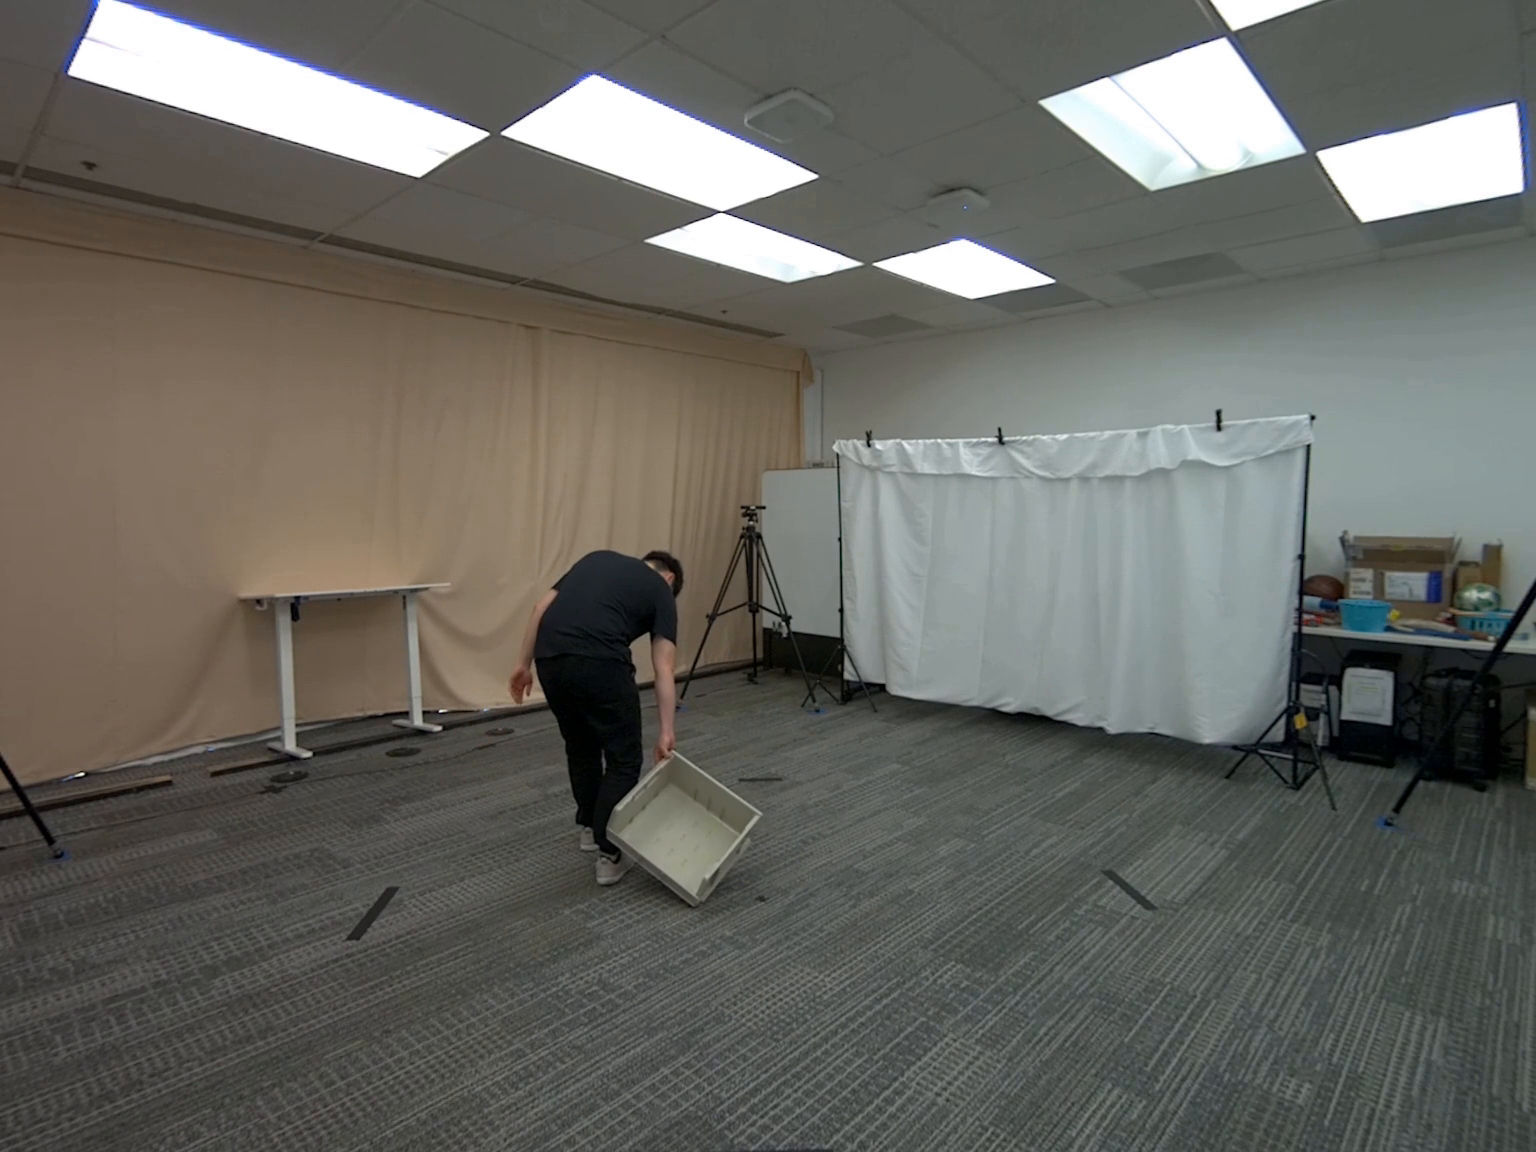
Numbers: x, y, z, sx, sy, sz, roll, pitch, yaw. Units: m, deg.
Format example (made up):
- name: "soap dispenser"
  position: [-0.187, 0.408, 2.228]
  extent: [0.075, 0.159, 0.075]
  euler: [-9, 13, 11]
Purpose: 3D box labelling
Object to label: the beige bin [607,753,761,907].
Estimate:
- name: "beige bin"
  position: [-0.307, 0.922, 3.077]
  extent: [0.433, 0.187, 0.372]
  euler: [29, 41, 21]
